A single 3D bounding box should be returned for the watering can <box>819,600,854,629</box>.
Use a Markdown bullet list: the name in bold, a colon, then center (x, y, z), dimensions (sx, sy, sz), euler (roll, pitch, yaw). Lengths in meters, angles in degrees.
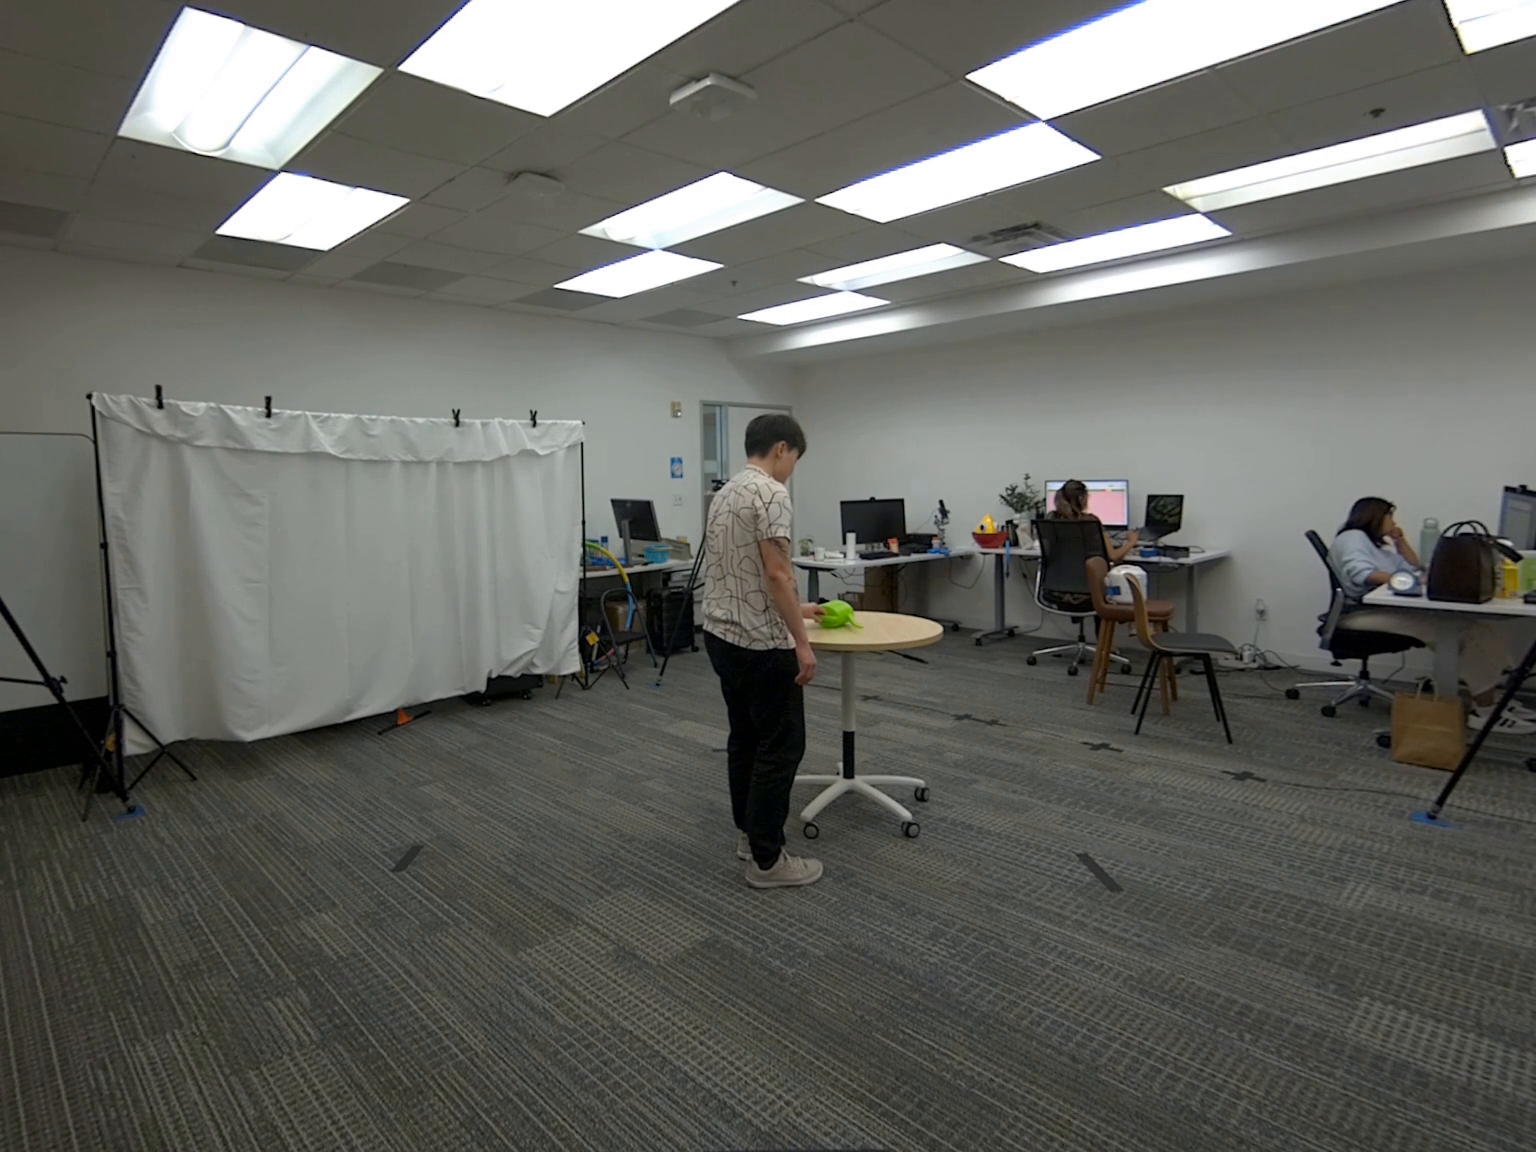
- **watering can**: center (0.296, 0.179, 3.521), dimensions (0.288, 0.097, 0.173), euler (26, 20, 30)
